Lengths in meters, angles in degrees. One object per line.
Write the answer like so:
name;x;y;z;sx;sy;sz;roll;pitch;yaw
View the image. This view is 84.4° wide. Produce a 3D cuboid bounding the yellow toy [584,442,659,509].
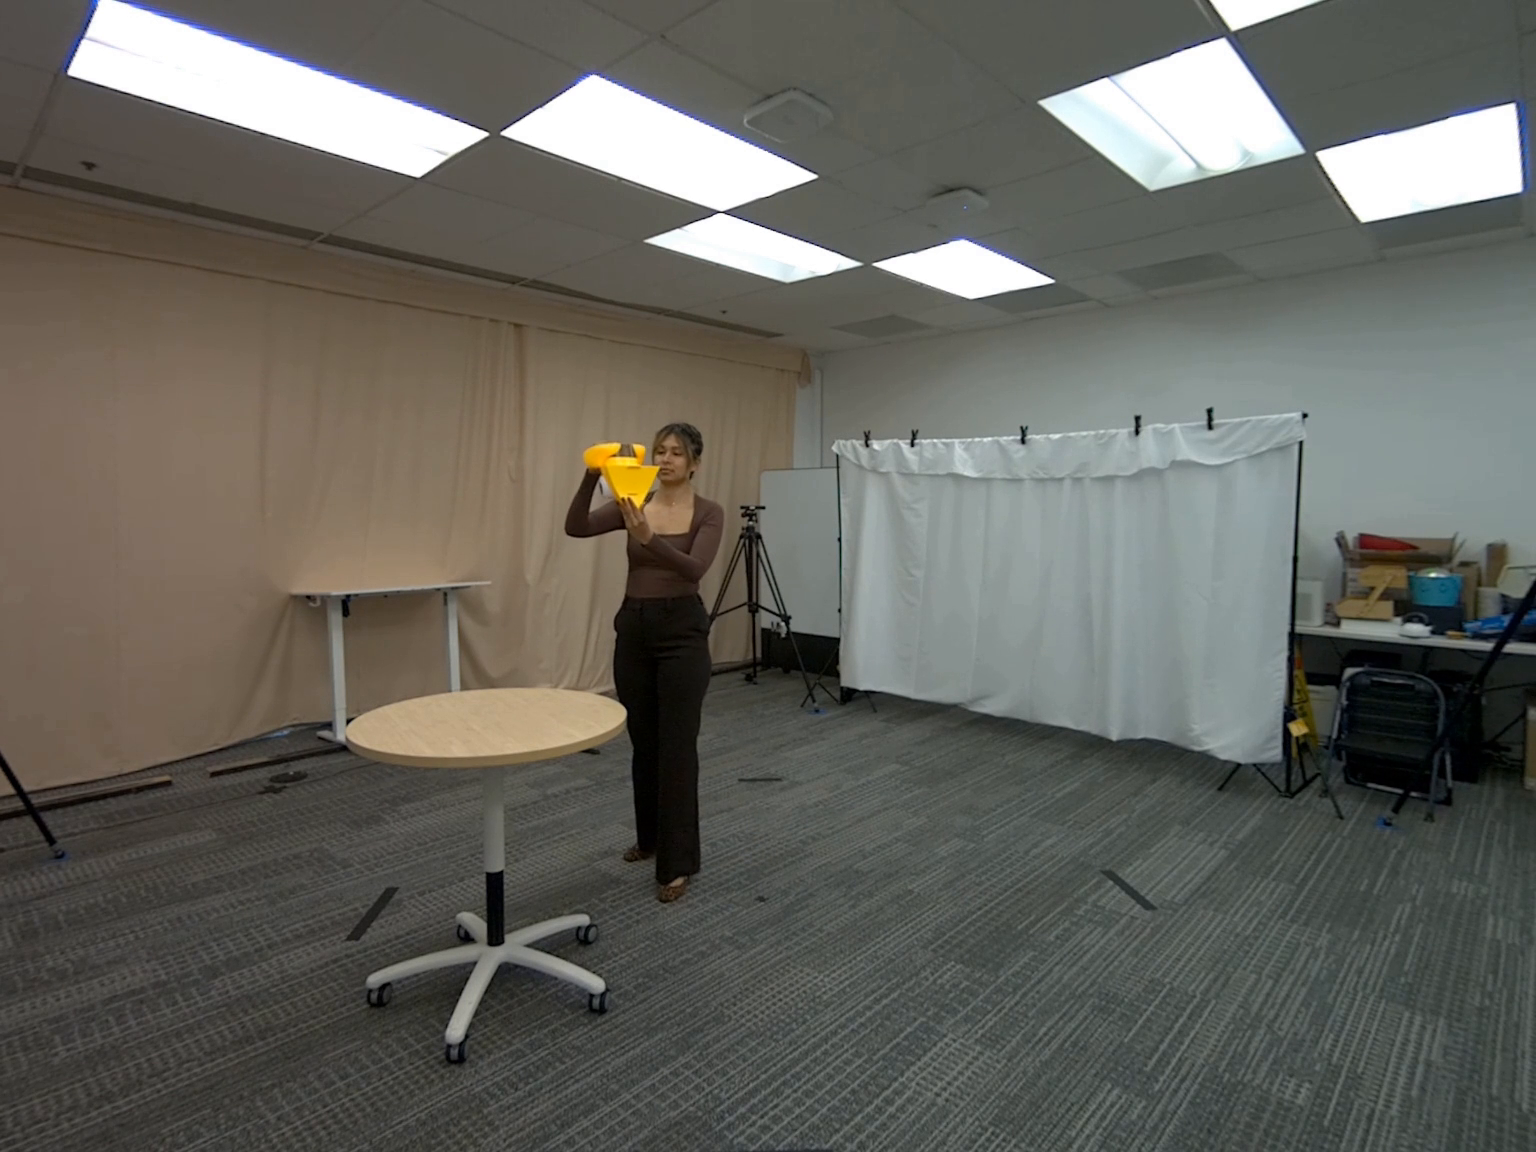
yellow toy;-0.482;-0.298;2.748;0.198;0.232;0.198;-3;-8;-42
